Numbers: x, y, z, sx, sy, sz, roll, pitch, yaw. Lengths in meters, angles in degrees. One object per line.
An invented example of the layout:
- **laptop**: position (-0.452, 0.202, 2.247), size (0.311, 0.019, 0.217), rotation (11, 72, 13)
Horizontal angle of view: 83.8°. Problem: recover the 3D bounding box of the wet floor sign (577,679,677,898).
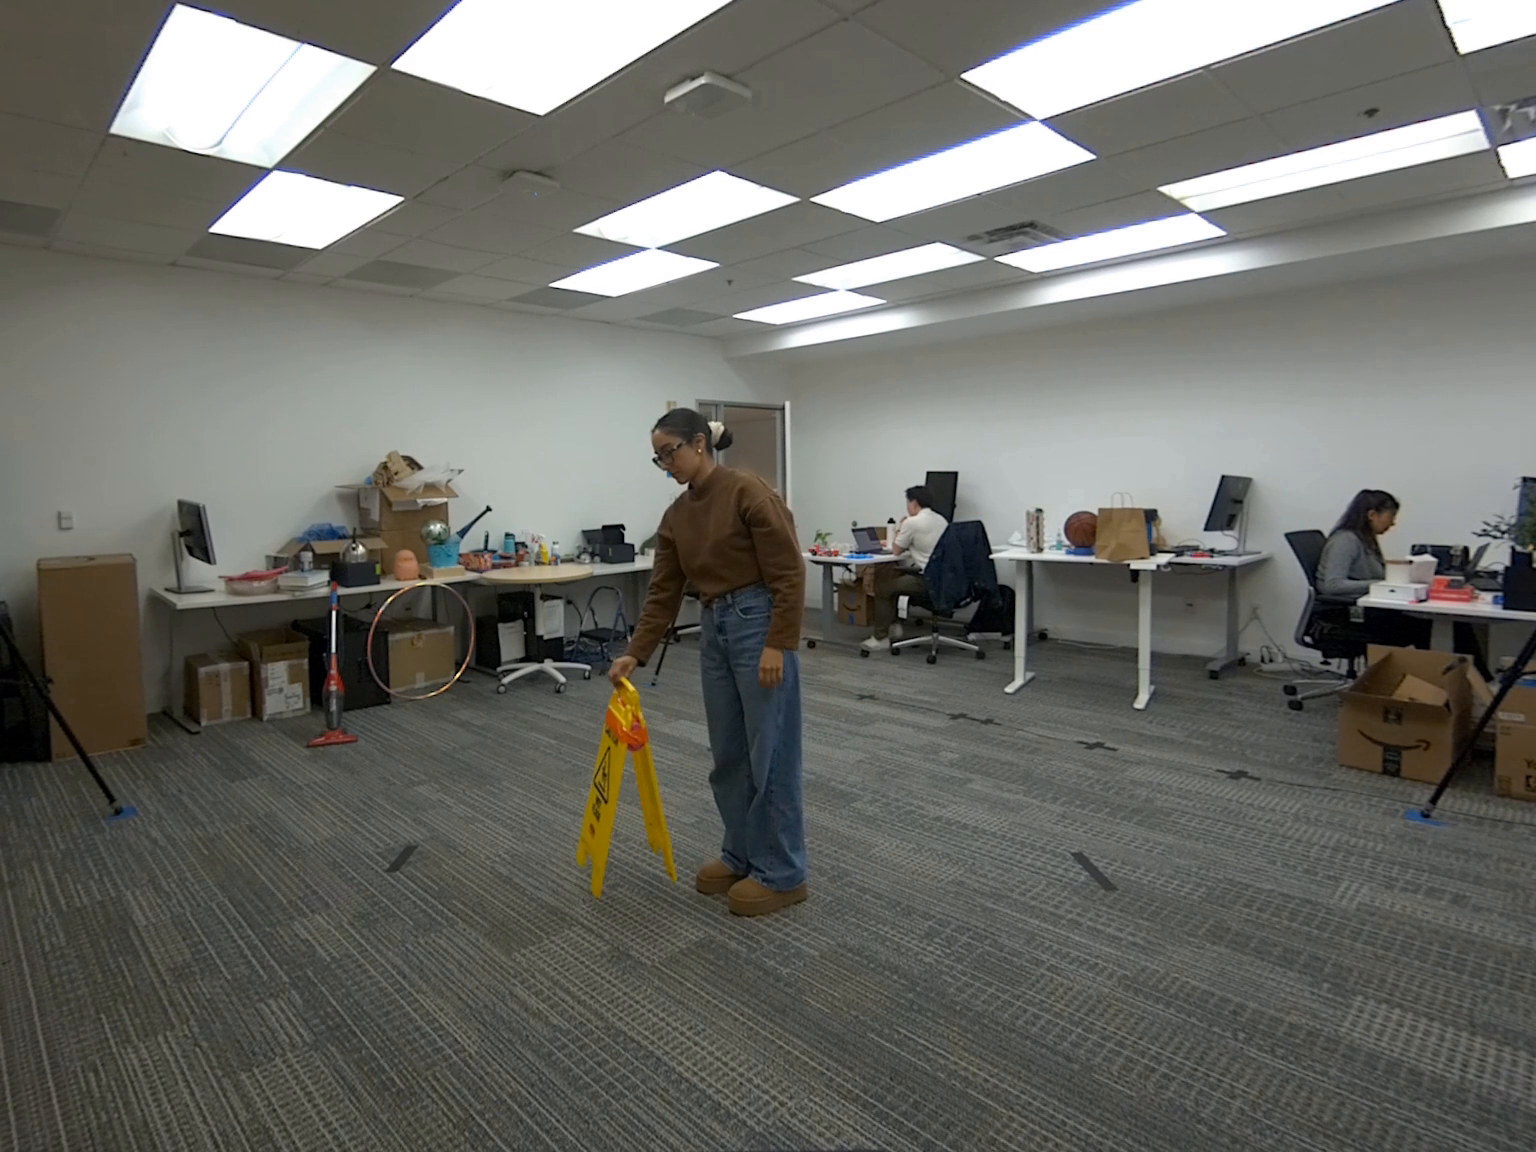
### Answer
- **wet floor sign**: position (-0.459, 0.657, 2.784), size (0.284, 0.642, 0.290), rotation (-2, 8, -24)
